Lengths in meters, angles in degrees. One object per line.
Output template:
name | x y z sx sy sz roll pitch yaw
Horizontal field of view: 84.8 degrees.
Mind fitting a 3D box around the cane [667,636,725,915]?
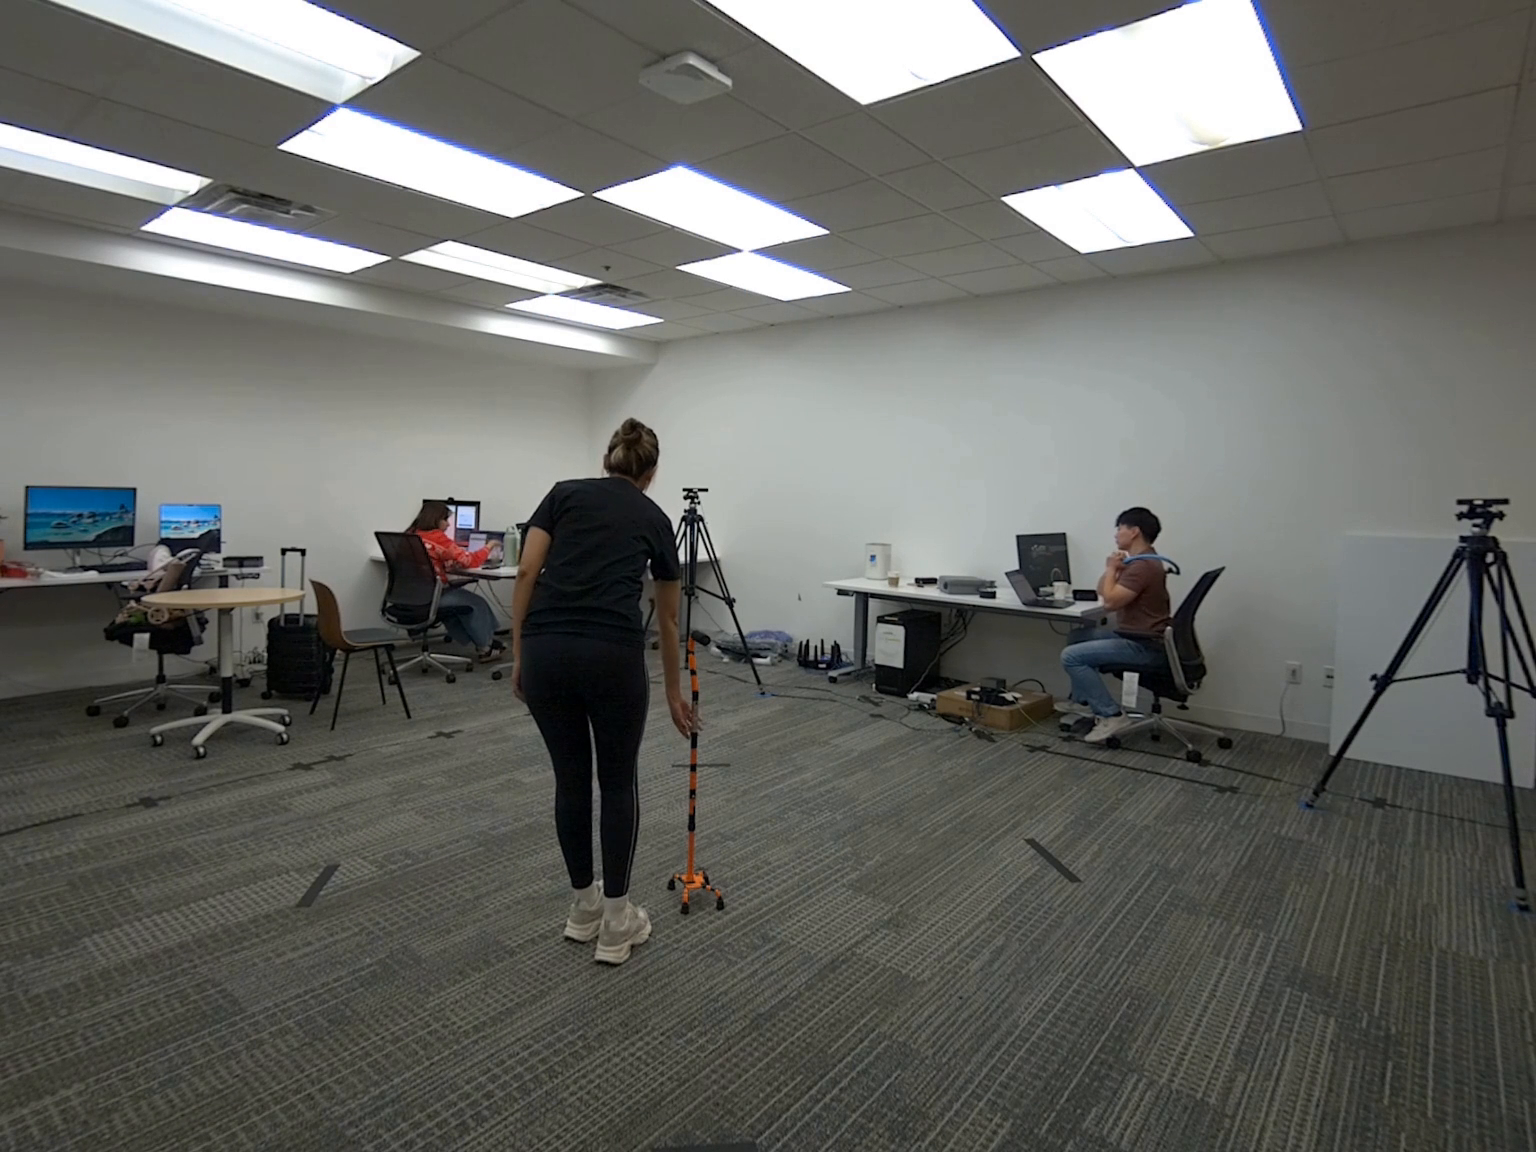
cane | -0.246 0.637 2.864 0.148 0.905 0.211 0 3 -20
